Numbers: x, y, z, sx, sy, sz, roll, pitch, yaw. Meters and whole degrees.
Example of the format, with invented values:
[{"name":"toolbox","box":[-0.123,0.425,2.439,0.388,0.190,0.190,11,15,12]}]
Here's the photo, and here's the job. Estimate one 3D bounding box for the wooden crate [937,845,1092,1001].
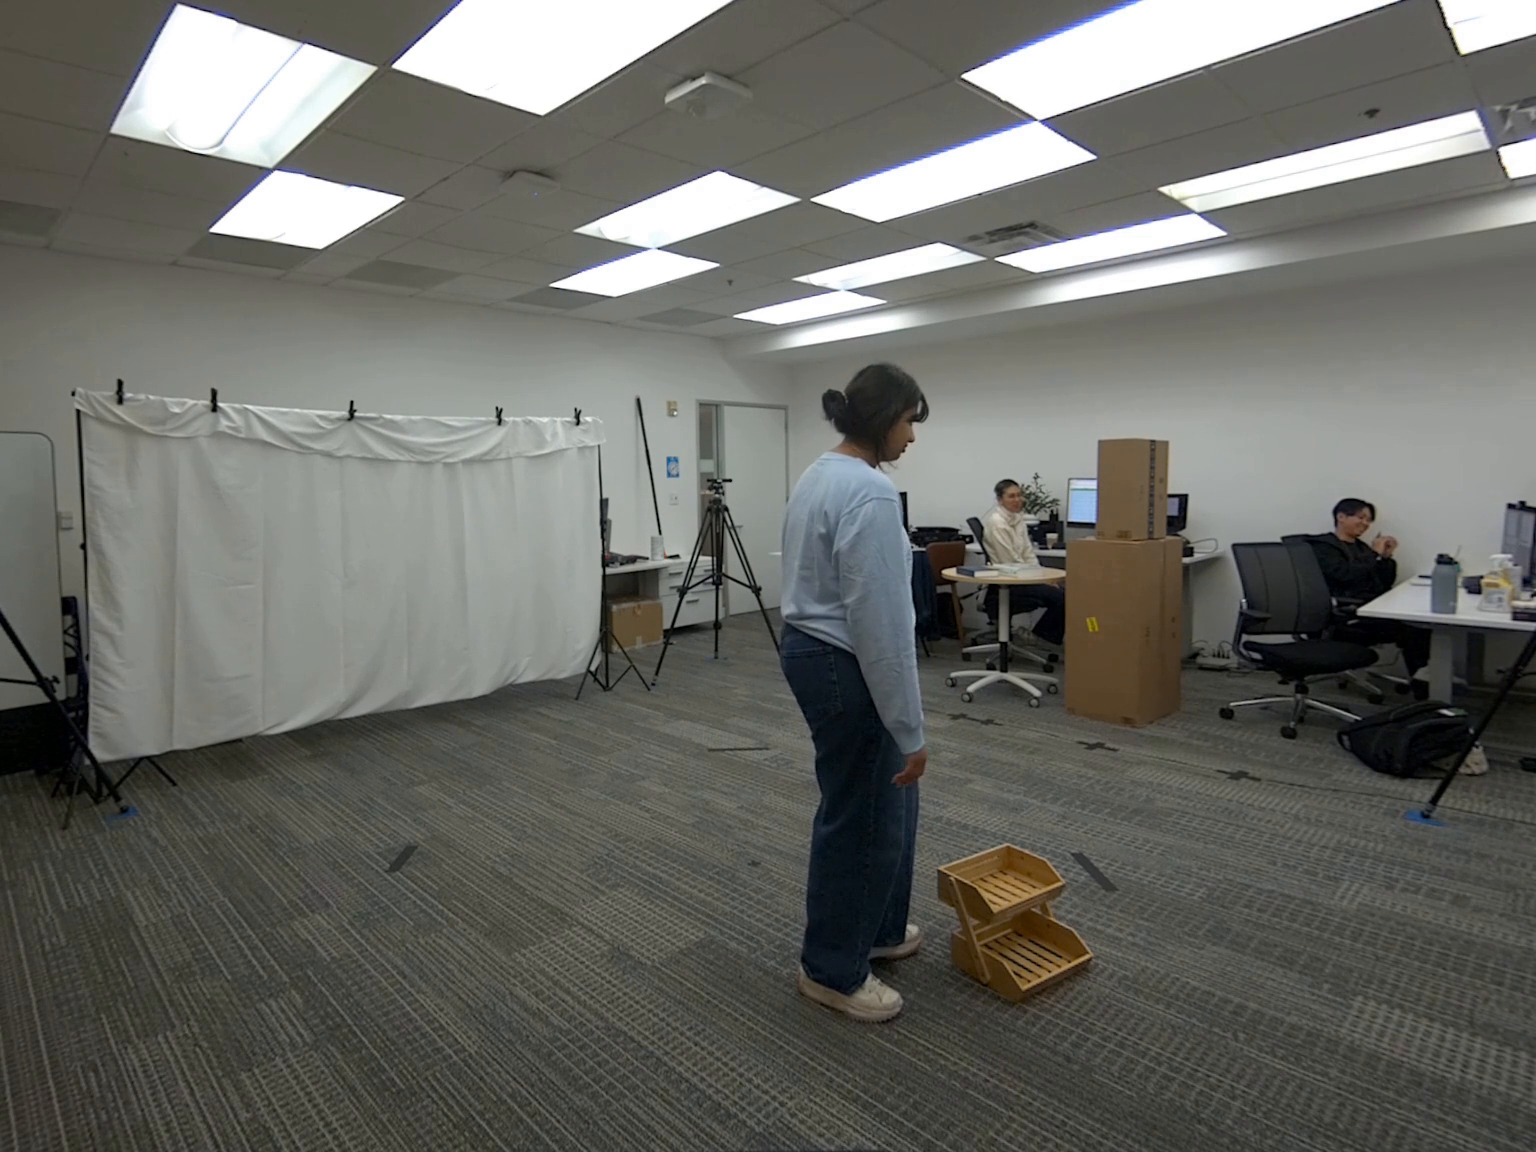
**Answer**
[{"name":"wooden crate","box":[0.715,0.980,2.430,0.317,0.272,0.311,-5,6,-33]}]
